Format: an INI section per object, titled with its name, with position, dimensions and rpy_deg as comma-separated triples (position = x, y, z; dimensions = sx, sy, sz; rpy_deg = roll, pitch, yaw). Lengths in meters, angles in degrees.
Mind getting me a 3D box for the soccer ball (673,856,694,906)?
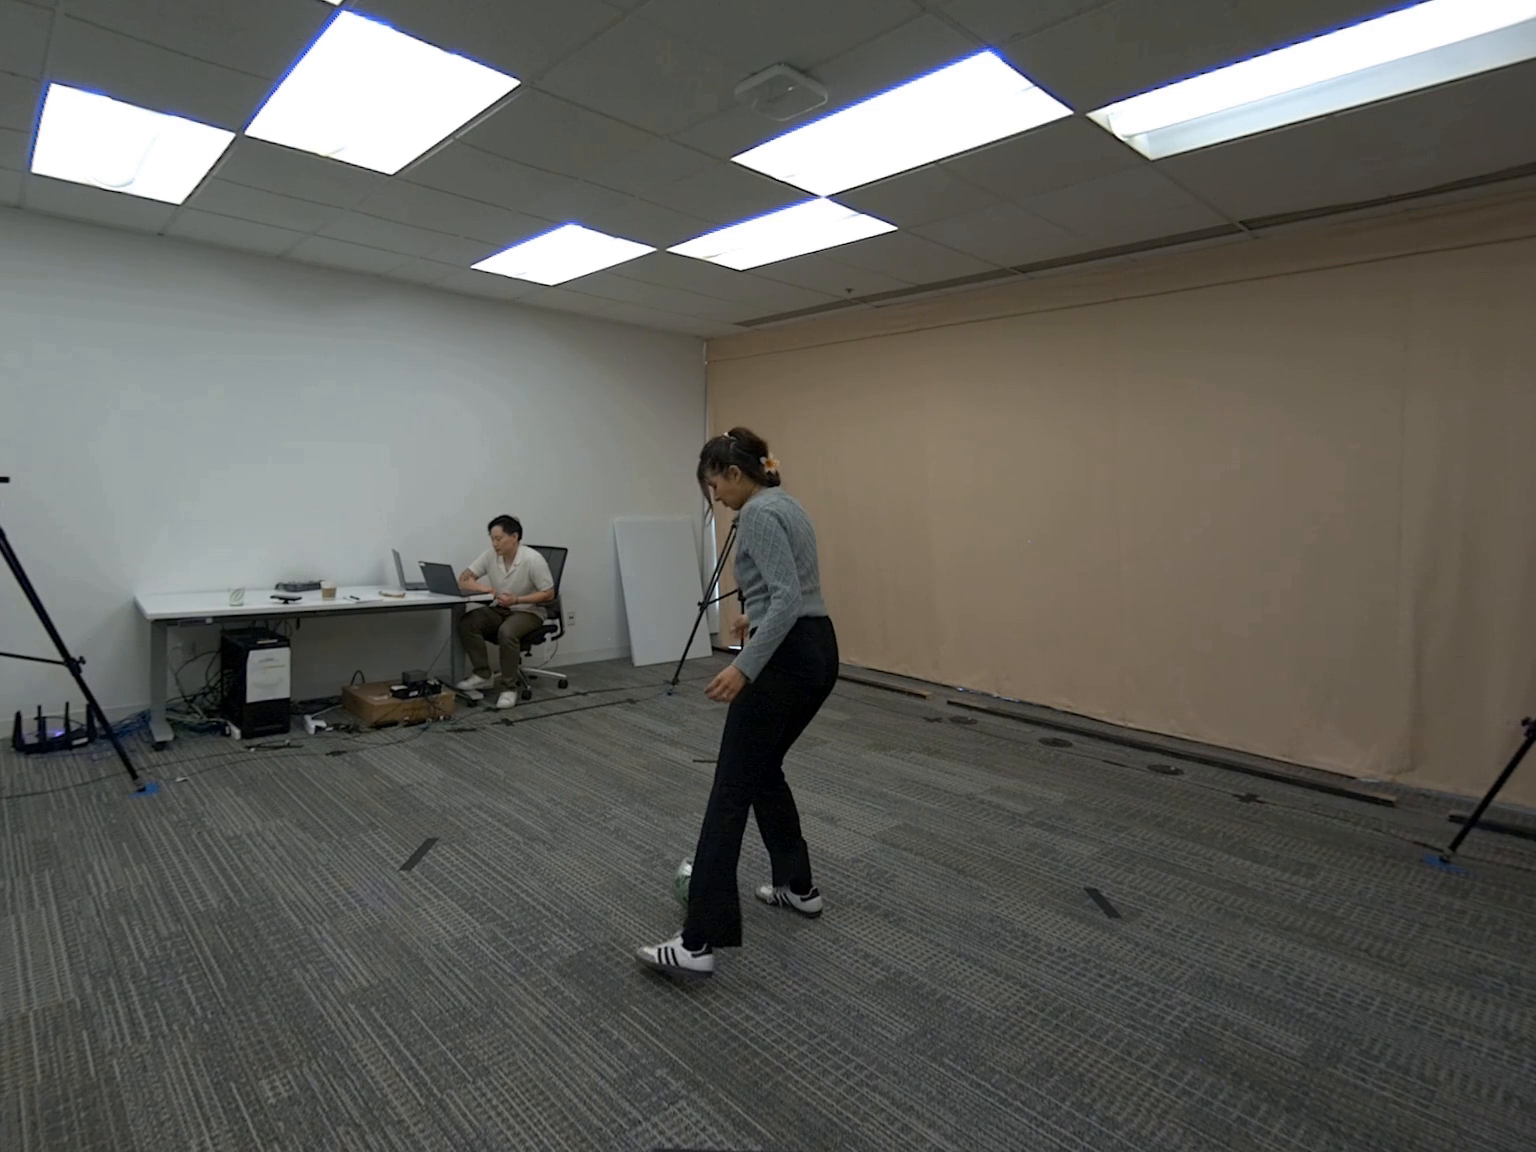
[soccer ball]
position = -0.233, 1.024, 2.813
dimensions = 0.187, 0.187, 0.188
rpy_deg = 1, 4, -1
